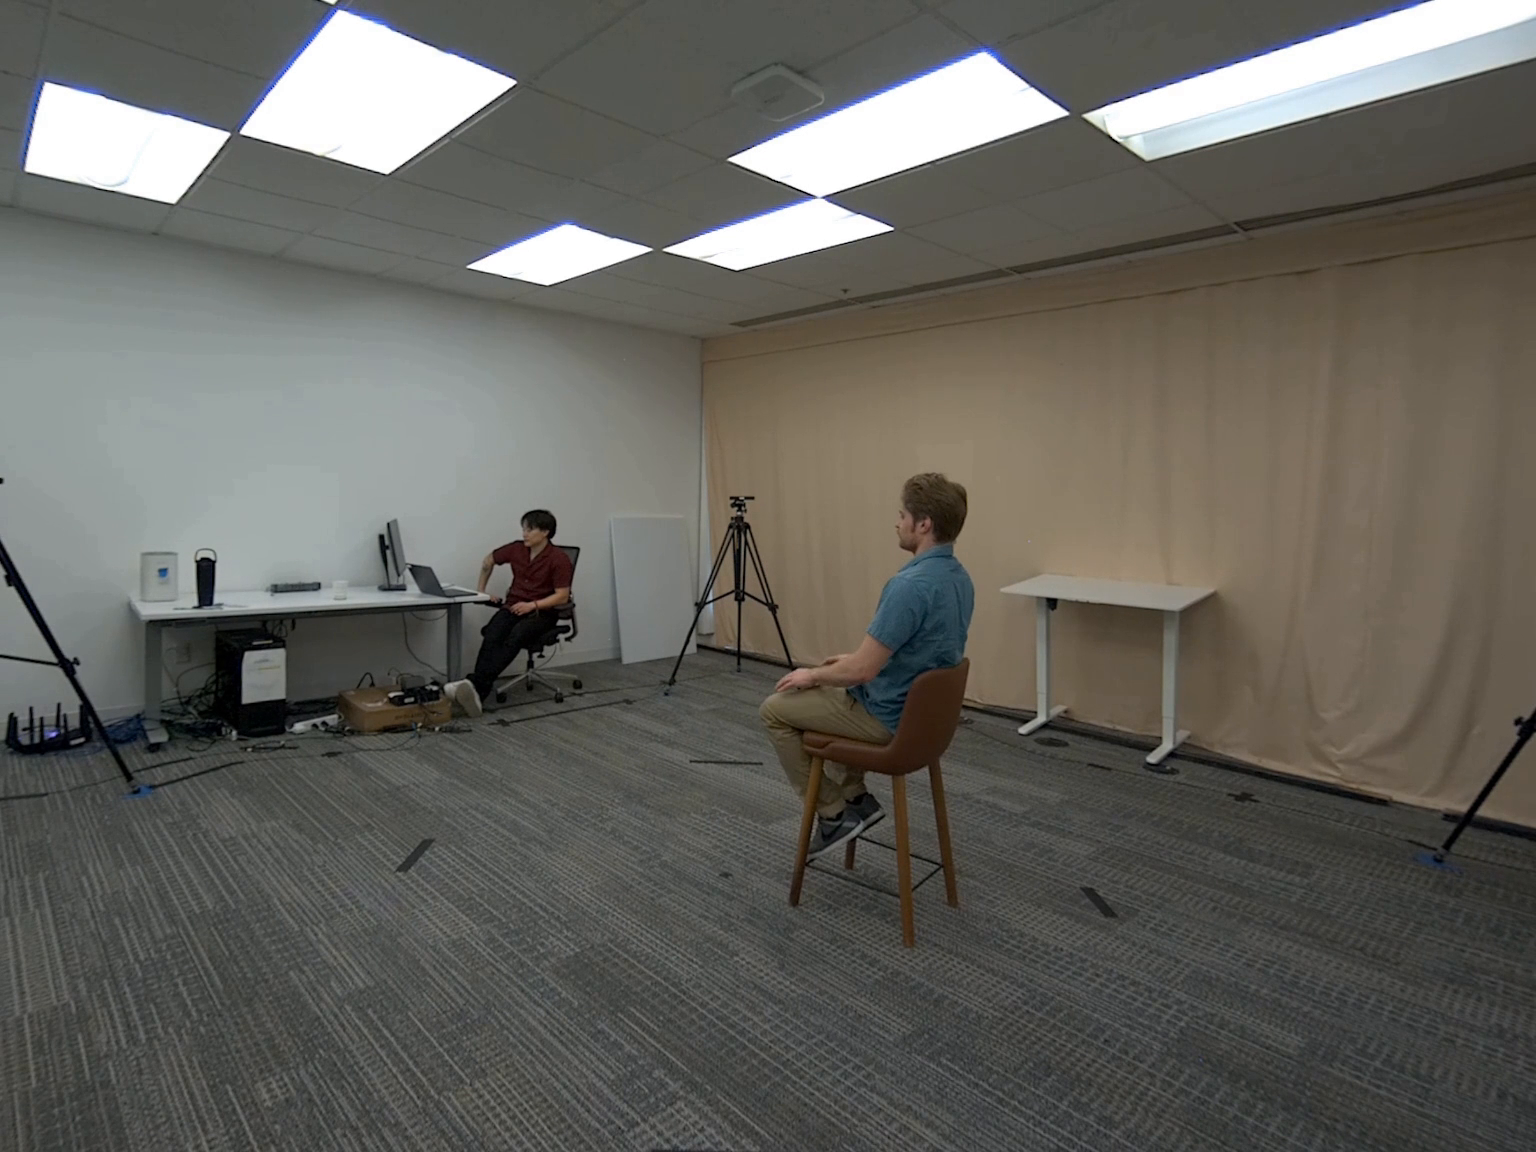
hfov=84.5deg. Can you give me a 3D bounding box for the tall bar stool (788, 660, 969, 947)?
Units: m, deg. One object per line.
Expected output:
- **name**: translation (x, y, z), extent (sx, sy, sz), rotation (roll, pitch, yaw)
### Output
- **tall bar stool**: translation (0.386, 0.702, 2.872), extent (0.479, 0.886, 0.447), rotation (7, 7, 37)
